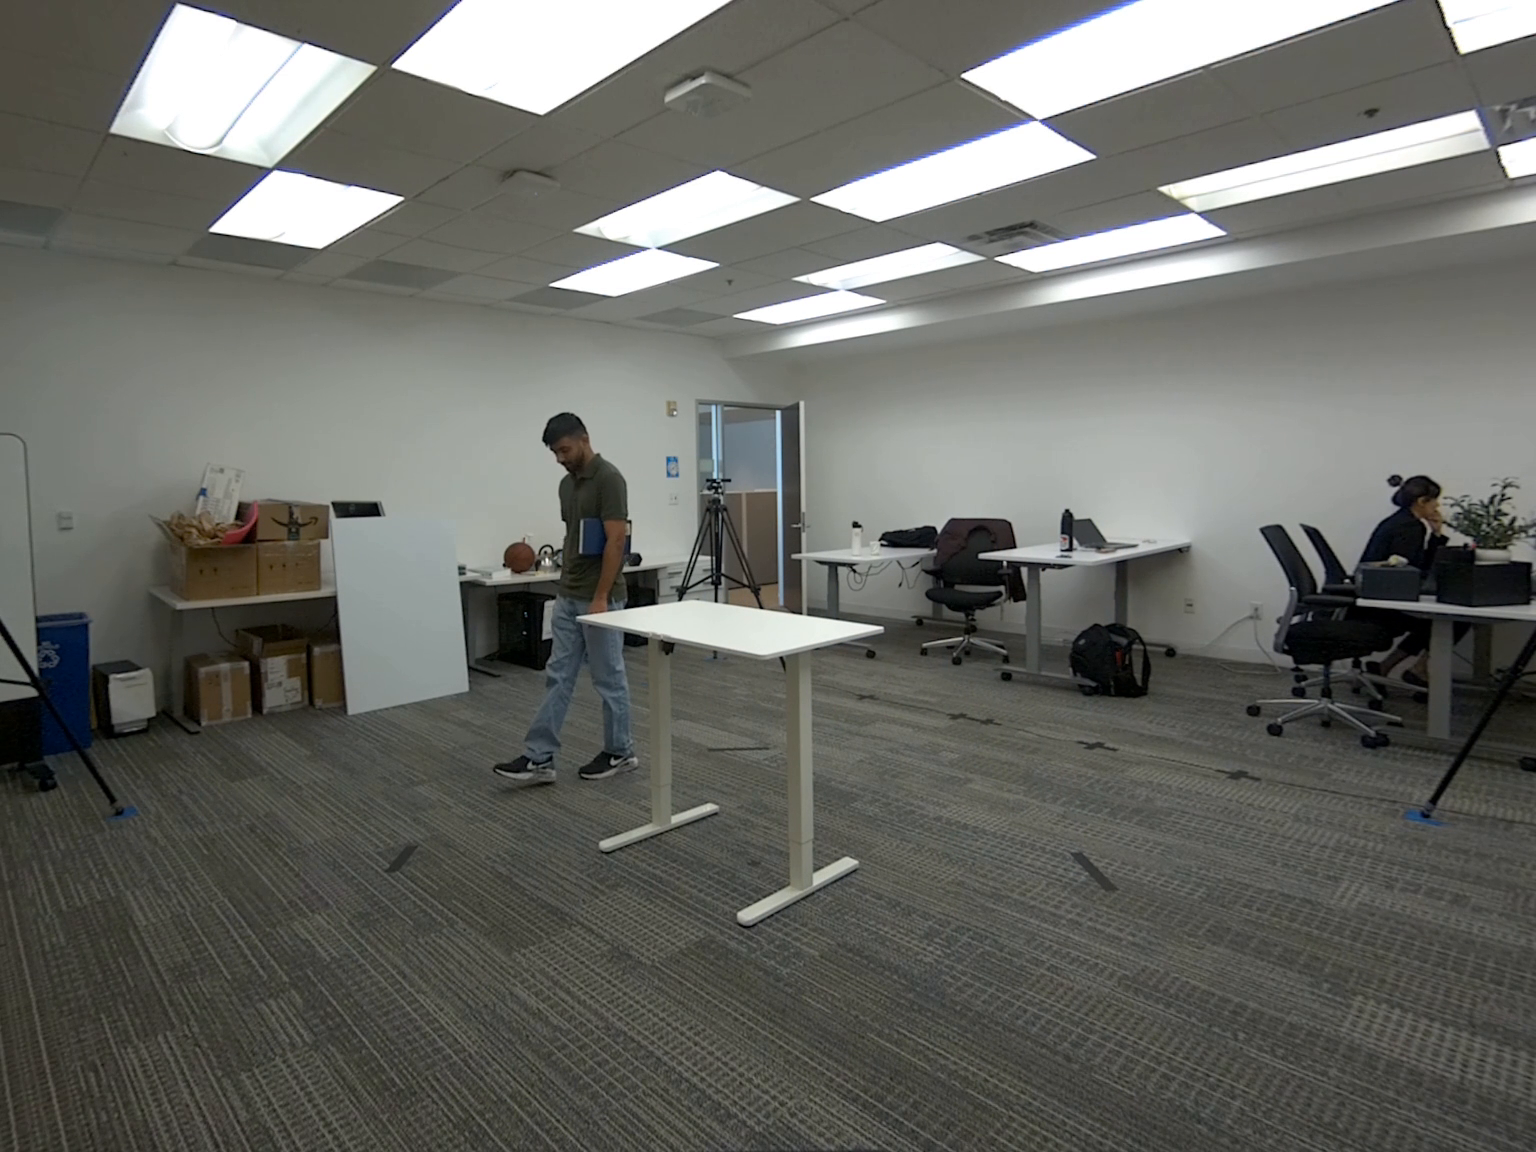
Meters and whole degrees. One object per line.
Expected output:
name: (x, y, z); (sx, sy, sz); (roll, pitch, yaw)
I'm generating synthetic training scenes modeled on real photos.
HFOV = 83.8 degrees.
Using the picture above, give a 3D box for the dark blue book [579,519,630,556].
dark blue book: (-0.751, -0.176, 3.887); (0.238, 0.163, 0.046); (0, 2, -36)
